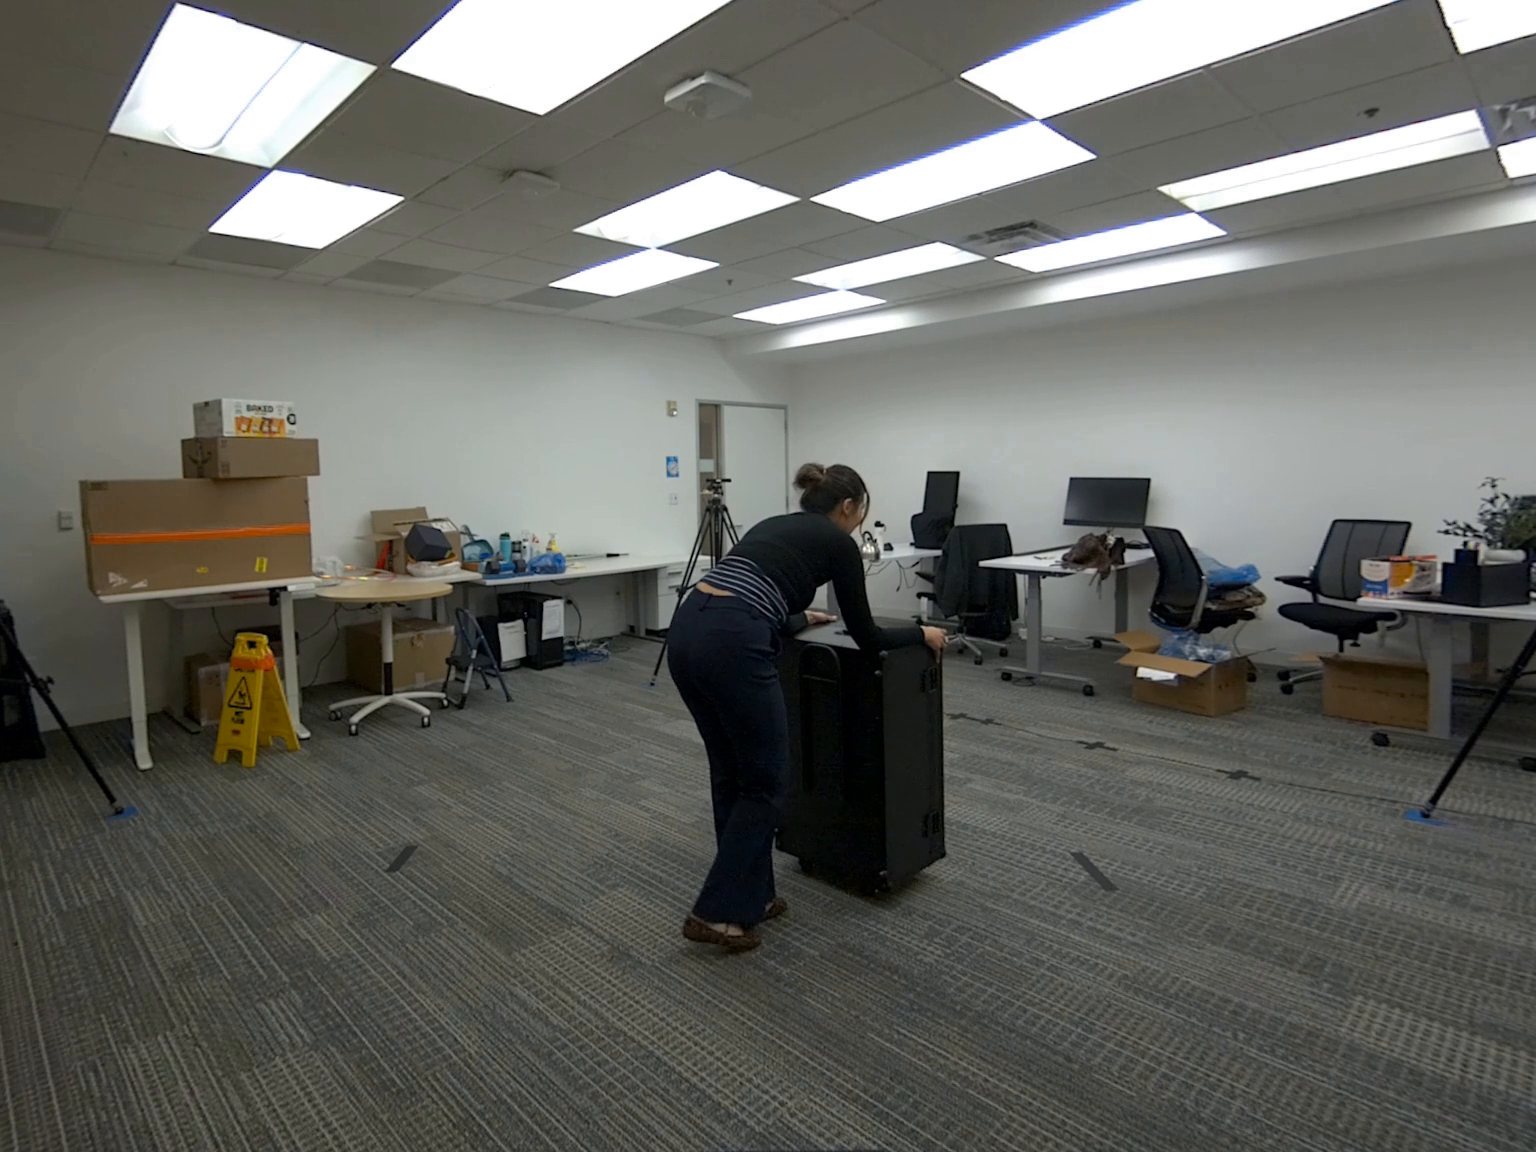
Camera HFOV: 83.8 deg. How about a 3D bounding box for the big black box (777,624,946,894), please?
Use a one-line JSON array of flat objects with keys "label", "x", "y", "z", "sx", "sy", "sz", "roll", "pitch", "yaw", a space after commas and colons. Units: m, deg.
[{"label": "big black box", "x": 0.313, "y": 0.627, "z": 2.979, "sx": 0.537, "sy": 0.856, "sz": 0.386, "roll": 4, "pitch": 9, "yaw": 44}]
